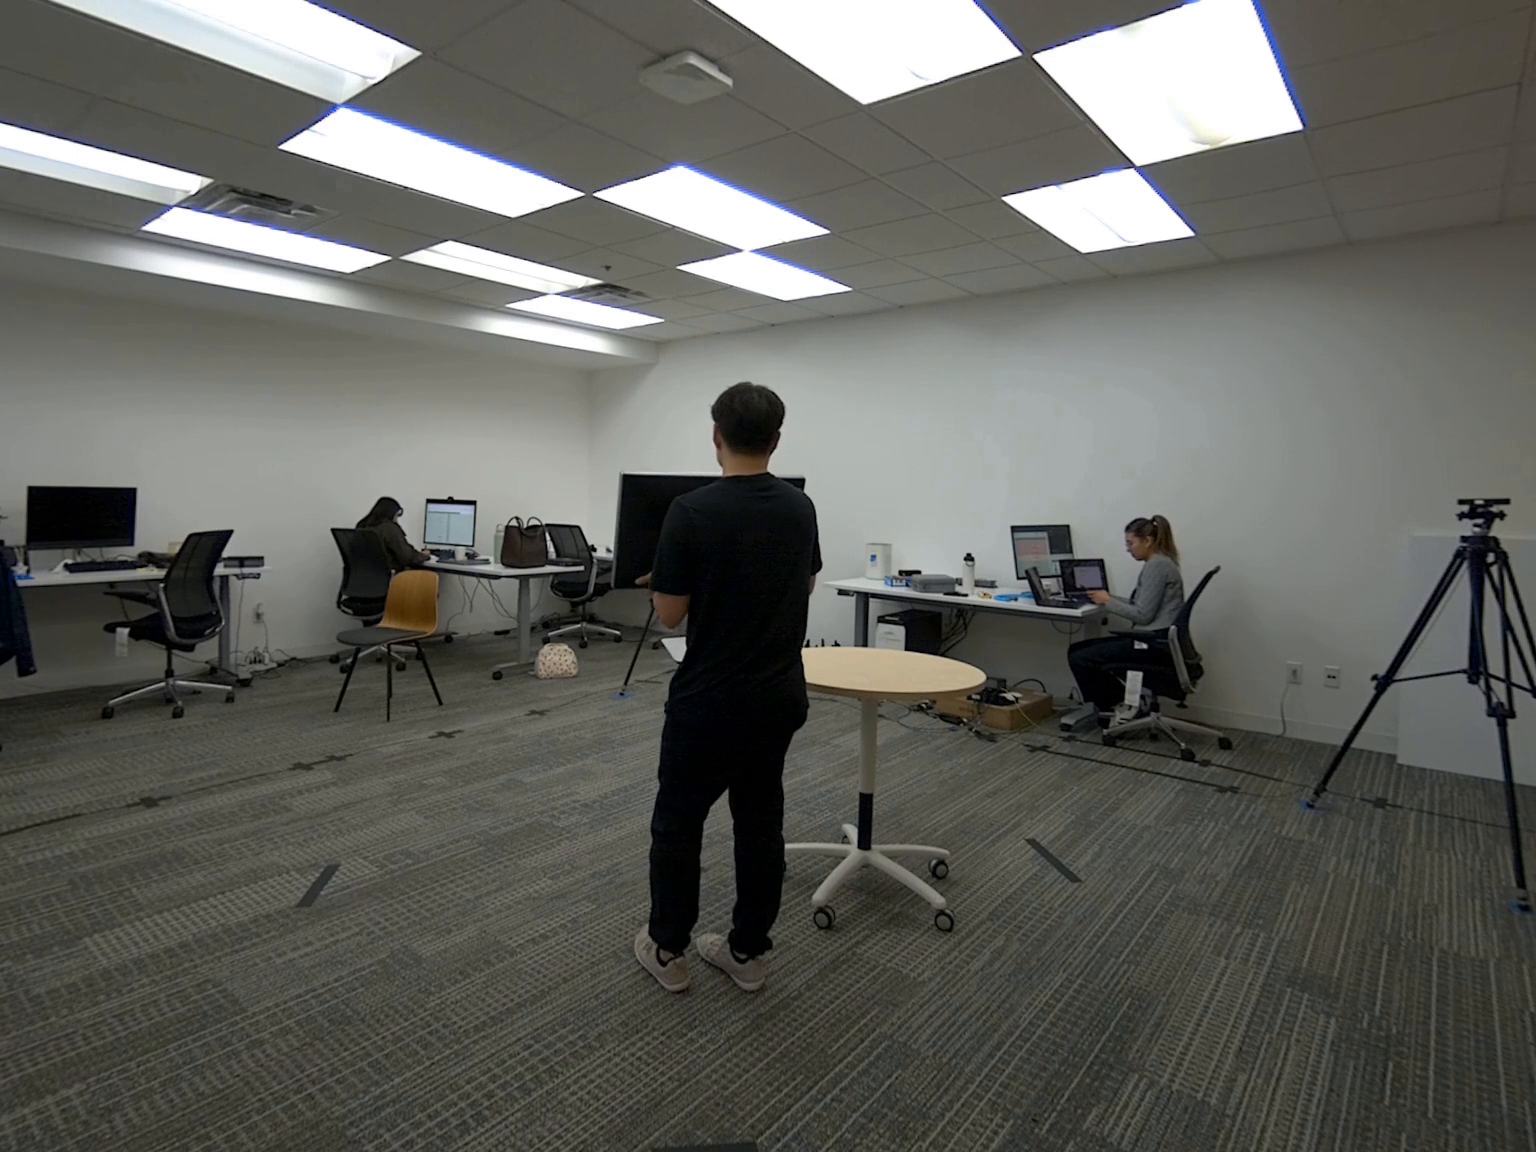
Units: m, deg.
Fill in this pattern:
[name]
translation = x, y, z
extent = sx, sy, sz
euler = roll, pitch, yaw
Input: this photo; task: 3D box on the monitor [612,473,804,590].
[monitor]
translation = -0.181, -0.034, 2.512
extent = 0.528, 0.517, 0.193
euler = -1, 13, -21
